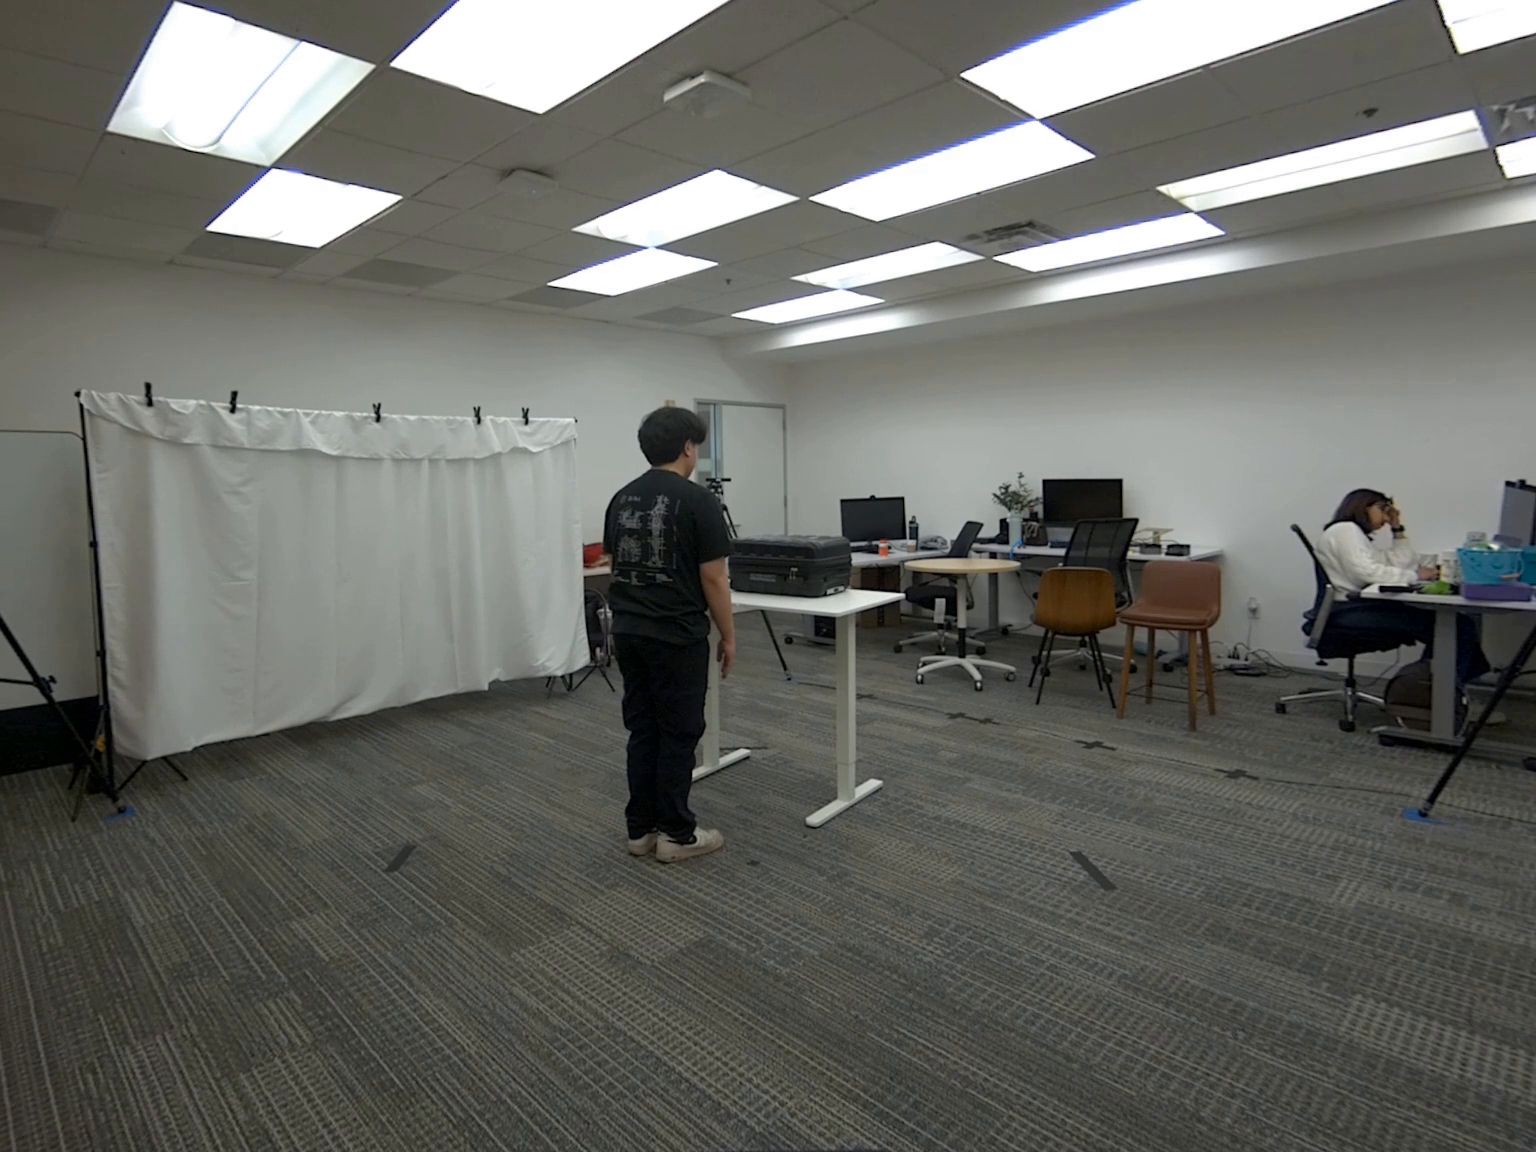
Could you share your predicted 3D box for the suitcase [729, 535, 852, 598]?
[{"bbox_3d":[0.087,-0.049,3.889,0.565,0.247,0.366,3,6,35],"label":"suitcase"}]
